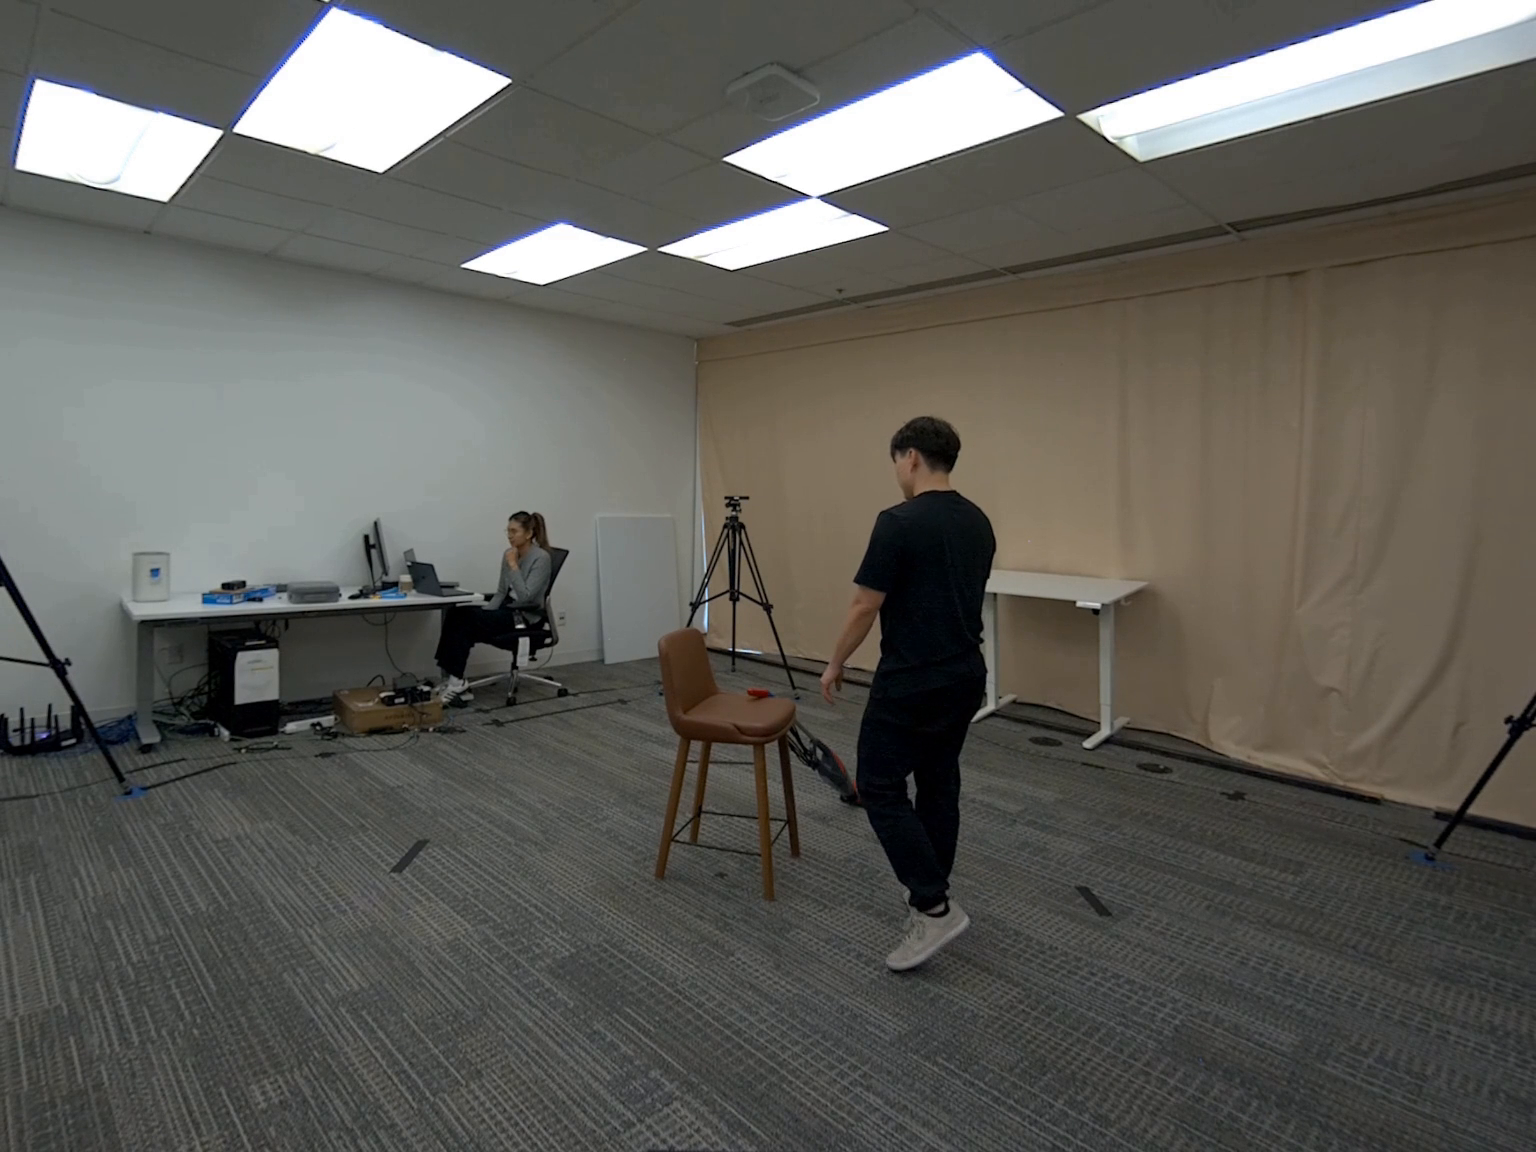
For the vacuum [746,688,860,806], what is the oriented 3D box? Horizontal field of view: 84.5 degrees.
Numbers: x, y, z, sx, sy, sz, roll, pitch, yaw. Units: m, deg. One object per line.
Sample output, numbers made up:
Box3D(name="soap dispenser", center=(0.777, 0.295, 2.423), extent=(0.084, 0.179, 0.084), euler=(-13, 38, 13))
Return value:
Box3D(name="vacuum", center=(0.170, 0.738, 3.594), extent=(0.258, 0.145, 1.016), euler=(0, -33, 37))
